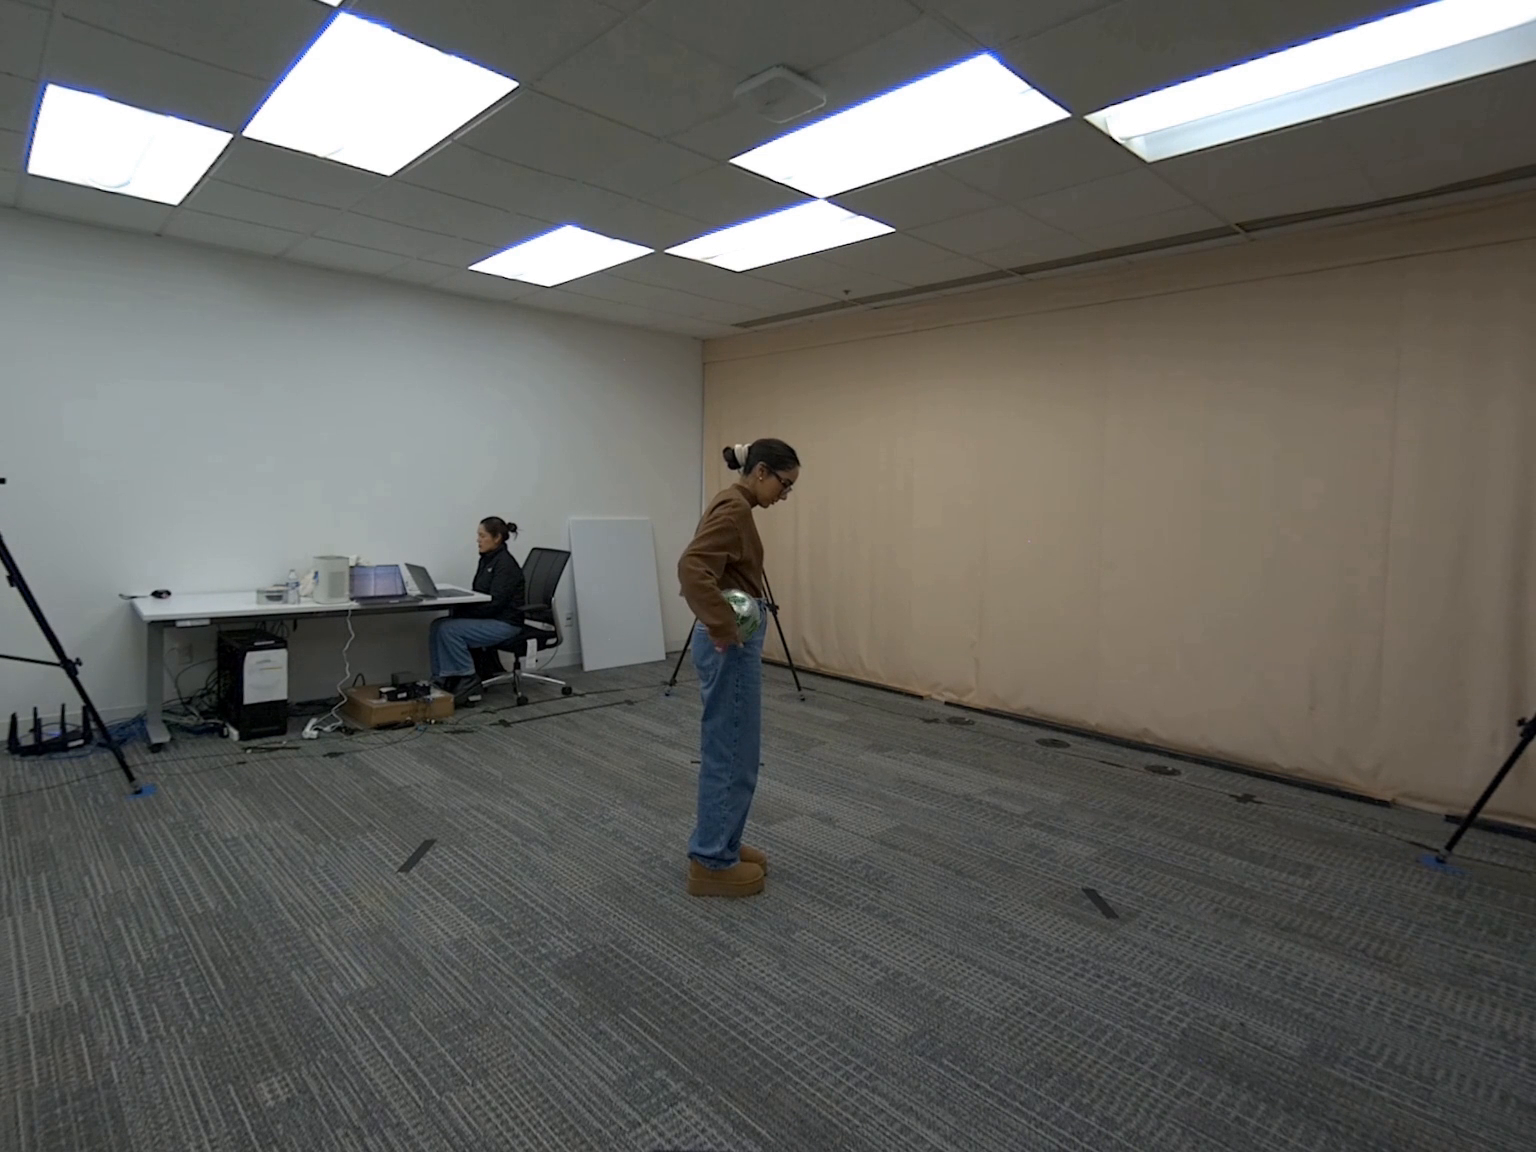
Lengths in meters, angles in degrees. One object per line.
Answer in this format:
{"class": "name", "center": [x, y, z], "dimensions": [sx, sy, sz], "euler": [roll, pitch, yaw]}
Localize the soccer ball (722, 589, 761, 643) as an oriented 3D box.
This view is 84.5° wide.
{"class": "soccer ball", "center": [-0.130, 0.140, 2.783], "dimensions": [0.187, 0.187, 0.188], "euler": [1, 4, -1]}
